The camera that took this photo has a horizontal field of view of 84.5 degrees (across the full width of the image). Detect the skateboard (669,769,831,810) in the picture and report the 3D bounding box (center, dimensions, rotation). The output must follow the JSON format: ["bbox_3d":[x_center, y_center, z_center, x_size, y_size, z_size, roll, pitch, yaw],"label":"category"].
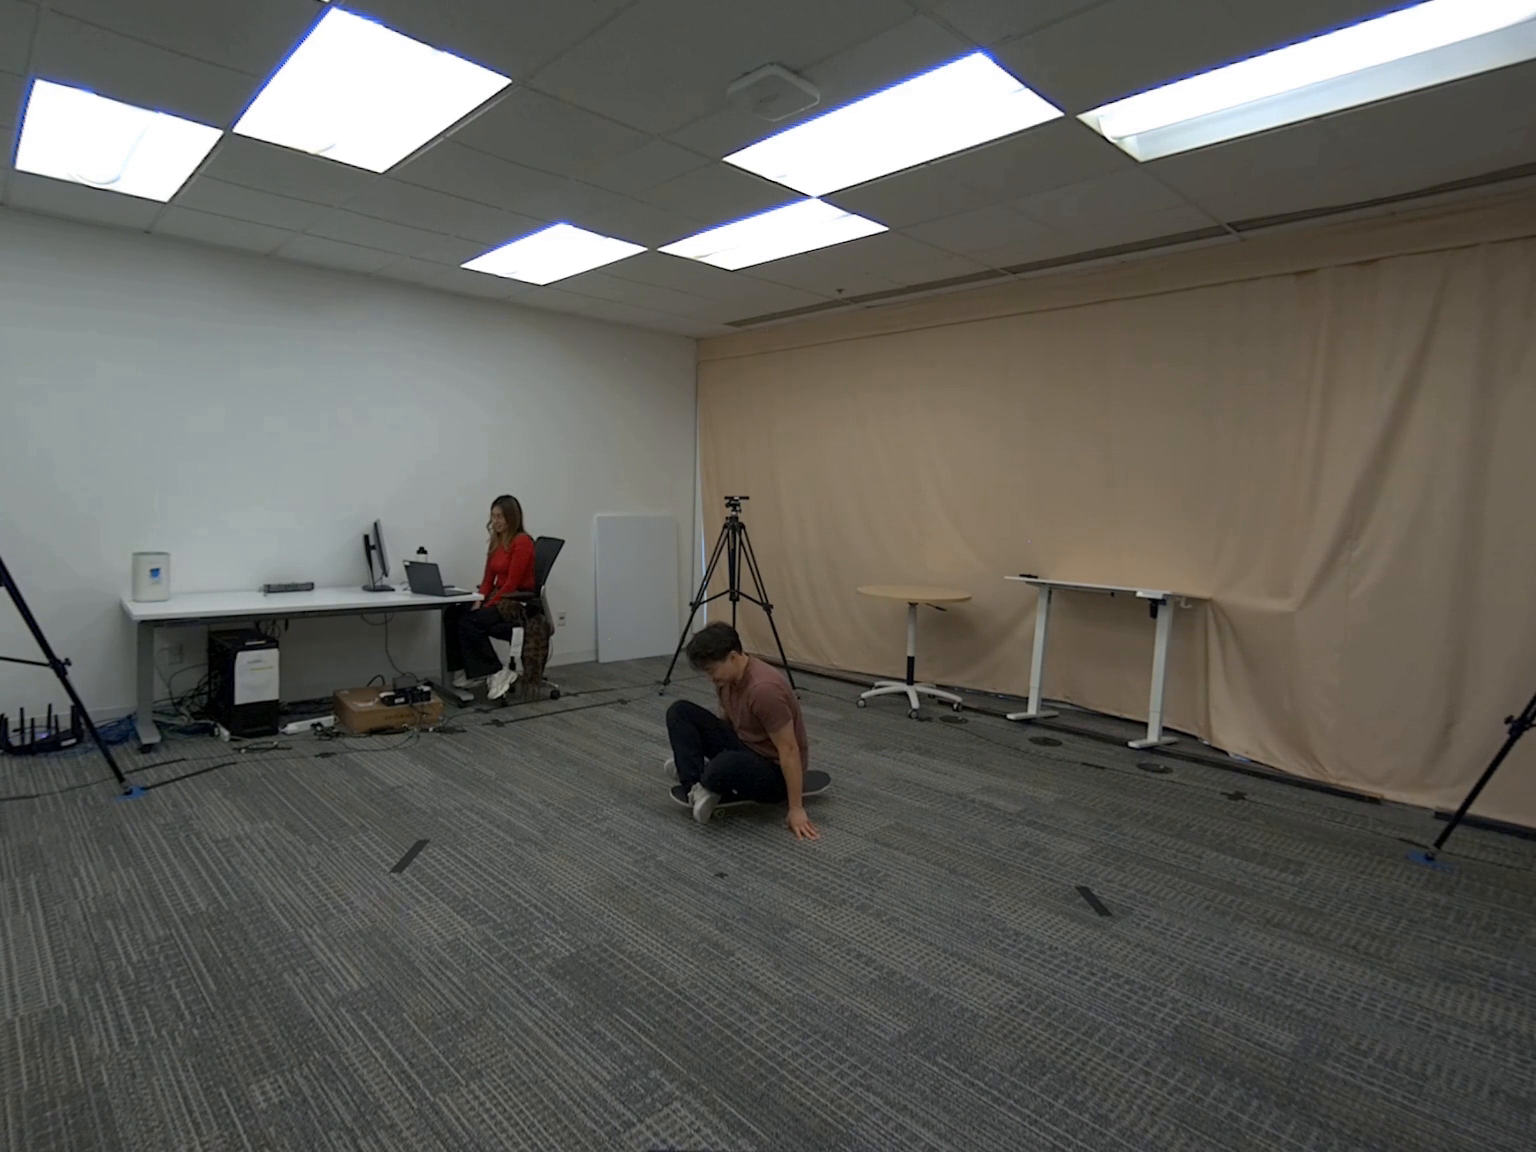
[{"bbox_3d":[-0.072,0.997,3.781,0.769,0.109,0.199,-1,14,-31],"label":"skateboard"}]
